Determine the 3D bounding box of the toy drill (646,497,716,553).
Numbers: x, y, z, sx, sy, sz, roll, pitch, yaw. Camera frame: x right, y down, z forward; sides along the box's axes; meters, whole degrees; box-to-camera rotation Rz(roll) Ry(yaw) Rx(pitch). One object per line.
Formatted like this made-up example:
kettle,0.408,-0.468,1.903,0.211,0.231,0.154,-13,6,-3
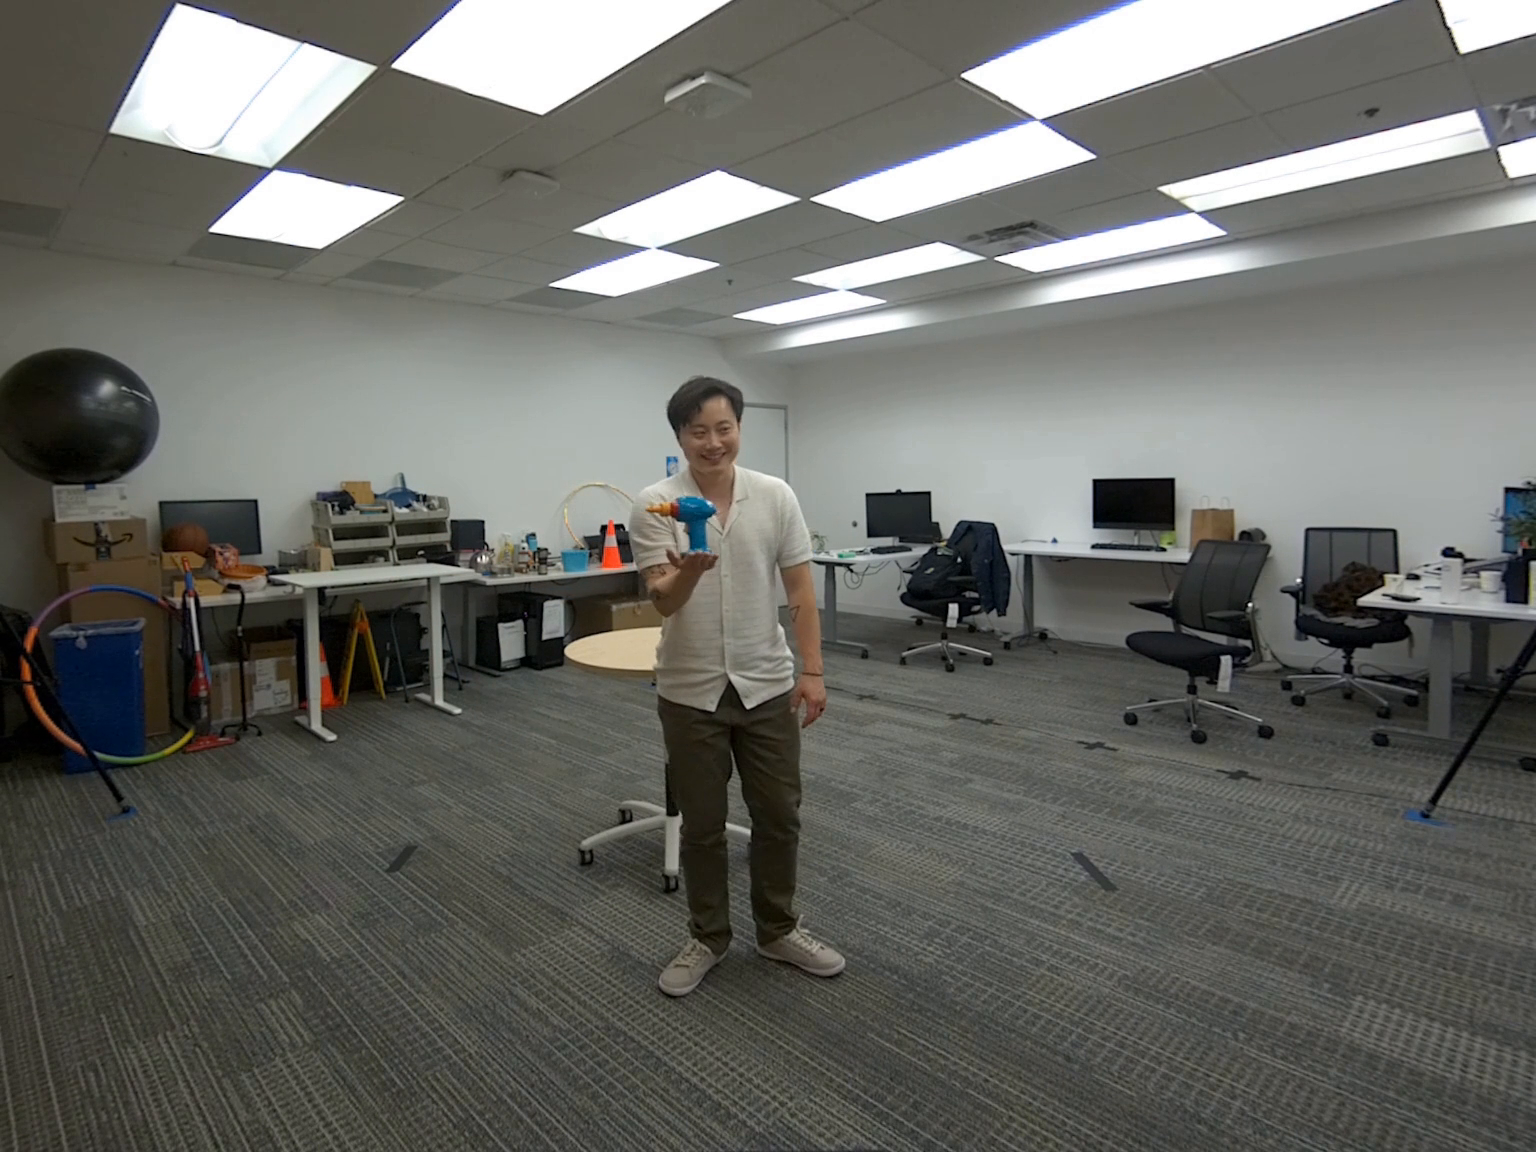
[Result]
toy drill,-0.211,-0.113,1.980,0.167,0.146,0.062,1,-1,-19
